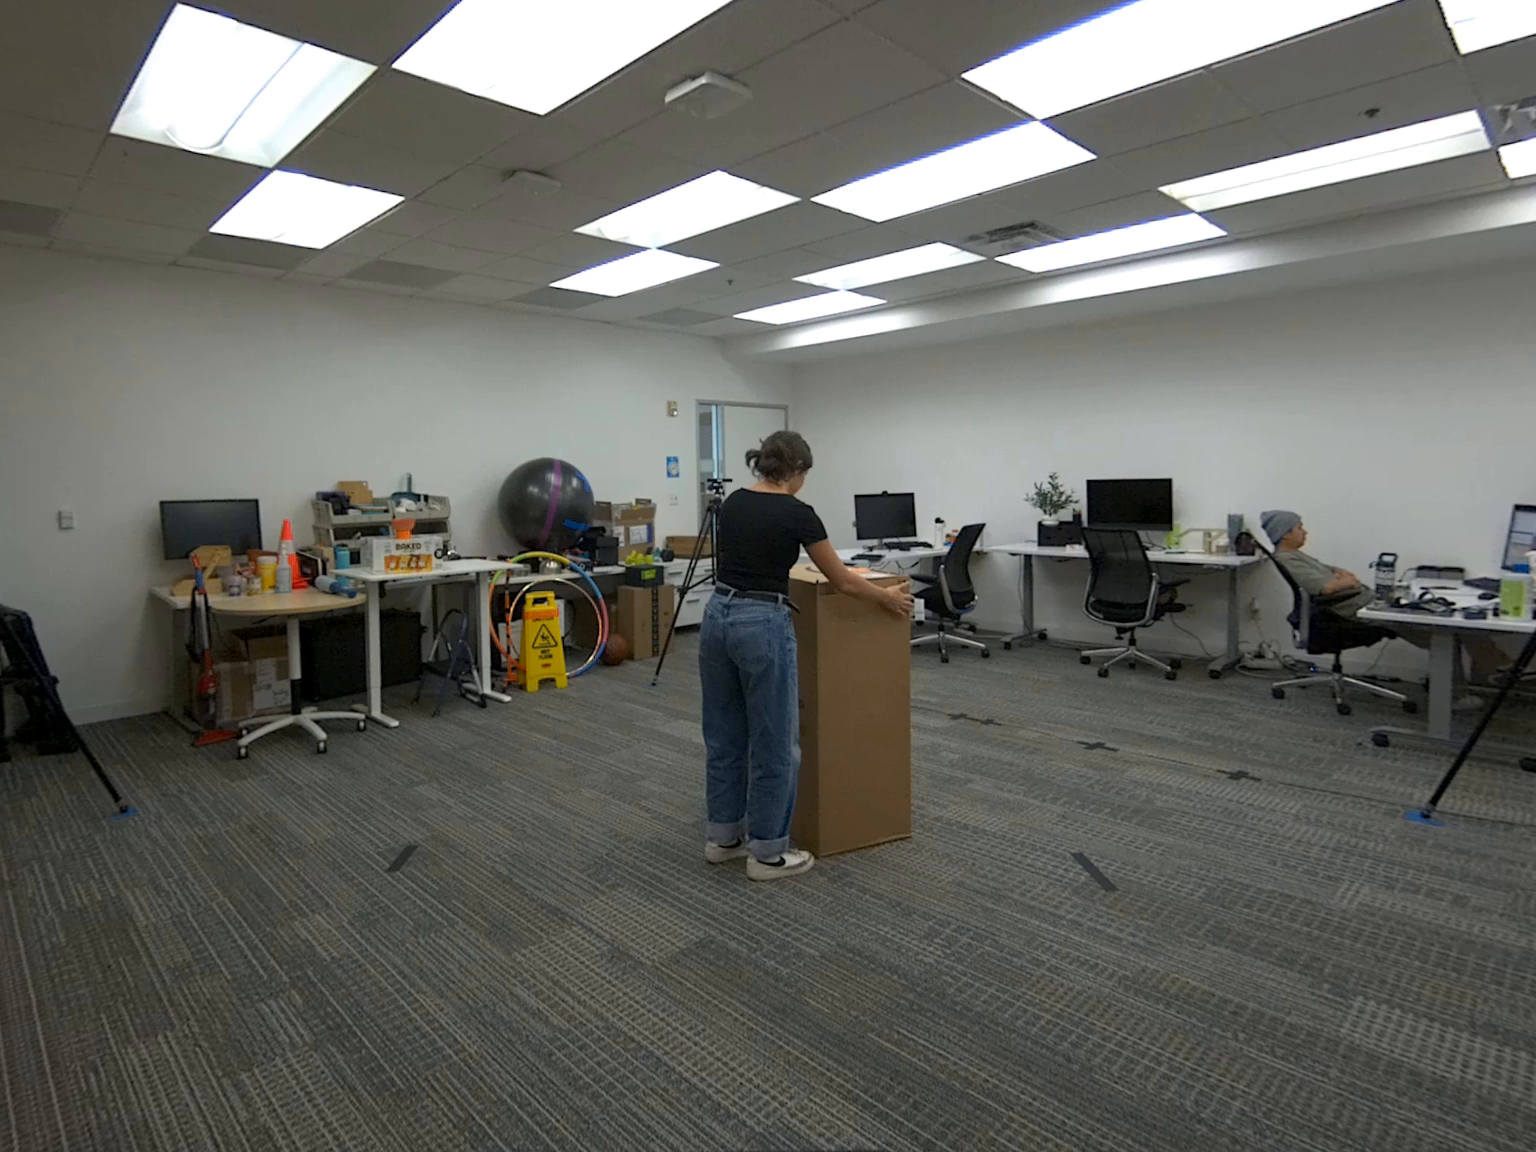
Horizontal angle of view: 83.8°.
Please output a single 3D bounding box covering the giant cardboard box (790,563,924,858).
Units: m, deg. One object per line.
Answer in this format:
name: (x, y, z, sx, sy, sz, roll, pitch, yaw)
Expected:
giant cardboard box: (0.235, 0.496, 3.455, 0.417, 1.022, 0.593, -3, 5, -28)
